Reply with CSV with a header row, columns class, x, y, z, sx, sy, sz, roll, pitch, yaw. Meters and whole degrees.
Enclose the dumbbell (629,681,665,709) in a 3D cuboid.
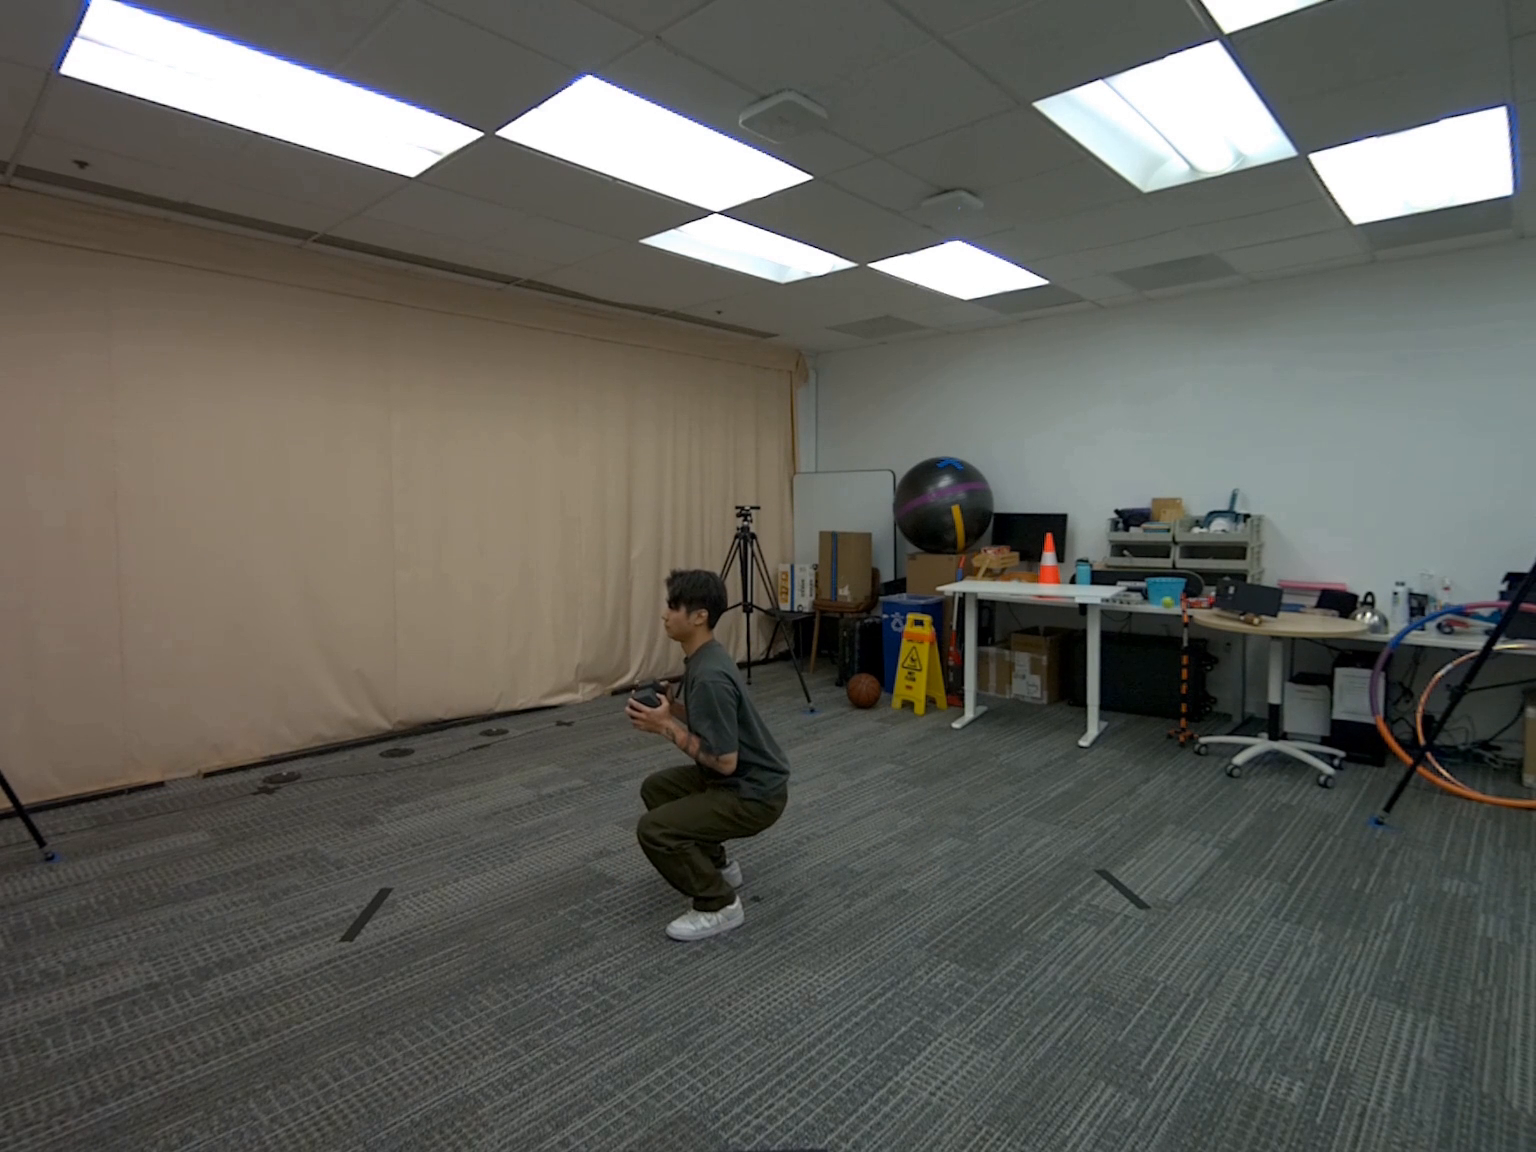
class,x,y,z,sx,sy,sz,roll,pitch,yaw
dumbbell,-0.406,0.435,2.927,0.109,0.122,0.295,-44,5,-1
